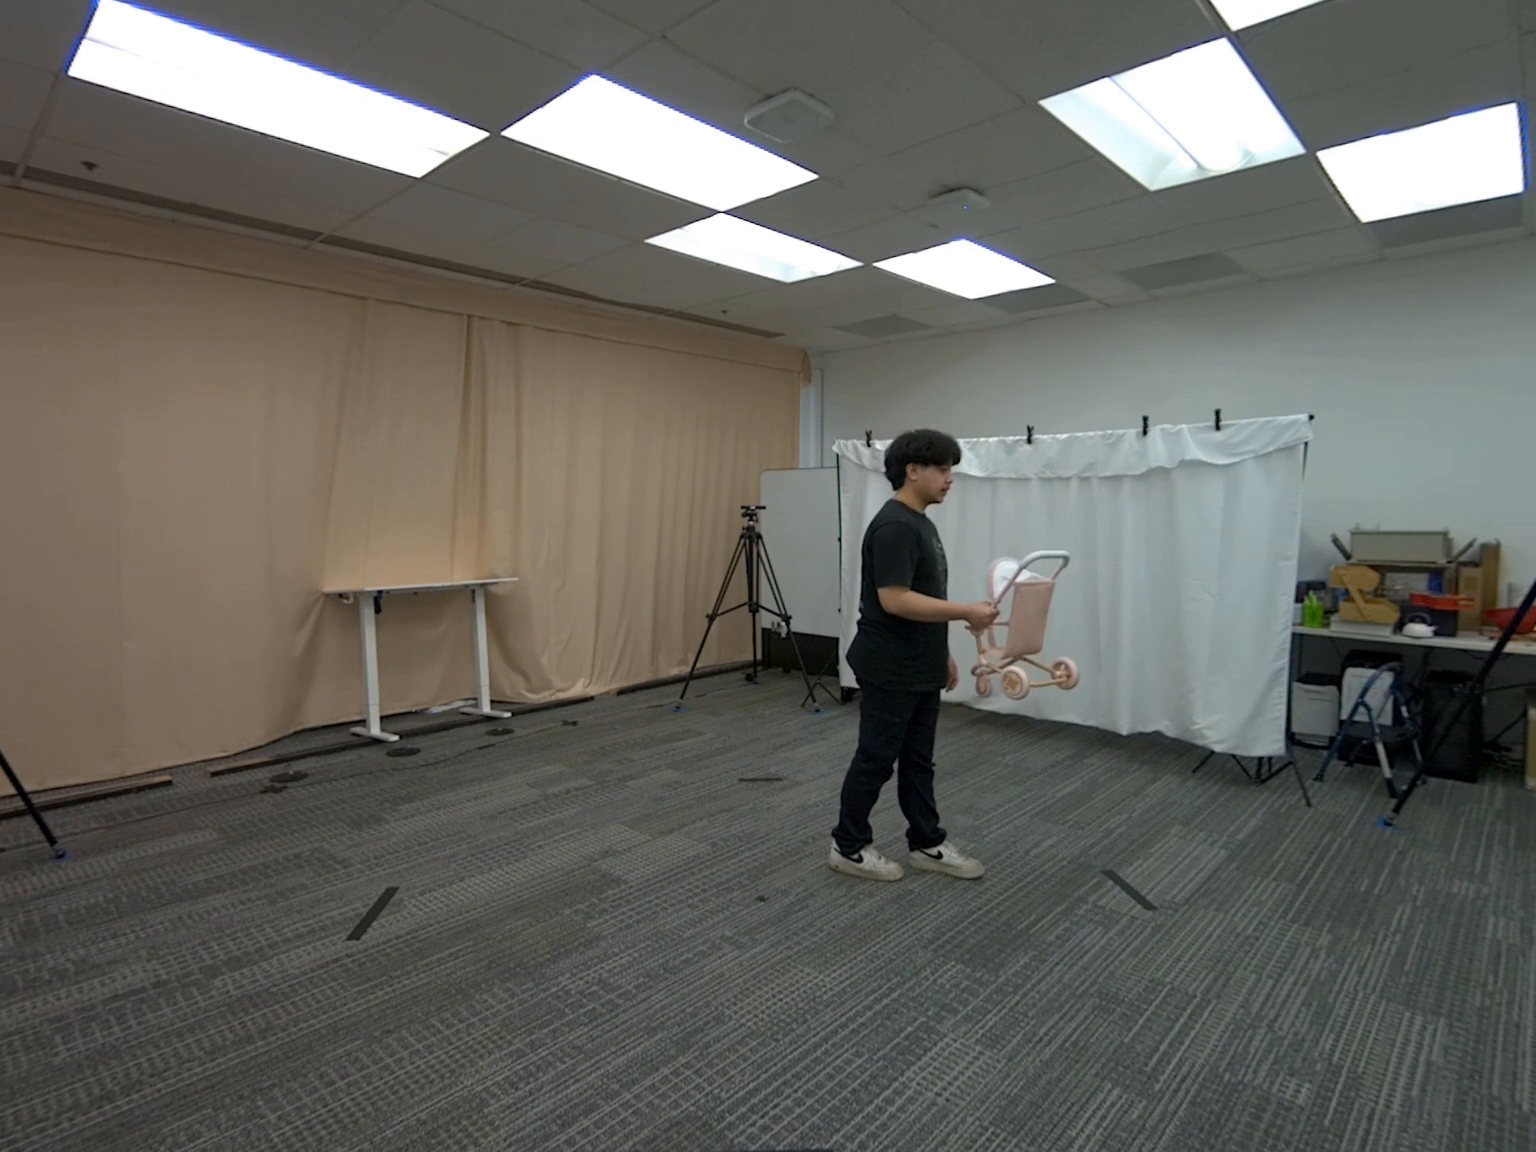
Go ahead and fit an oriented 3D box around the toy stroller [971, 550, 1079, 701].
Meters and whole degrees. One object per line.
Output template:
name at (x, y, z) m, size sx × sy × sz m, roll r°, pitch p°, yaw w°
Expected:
toy stroller at (0.841, 0.175, 2.875) m, size 0.275 × 0.533 × 0.350 m, roll -4°, pitch 5°, yaw -27°
